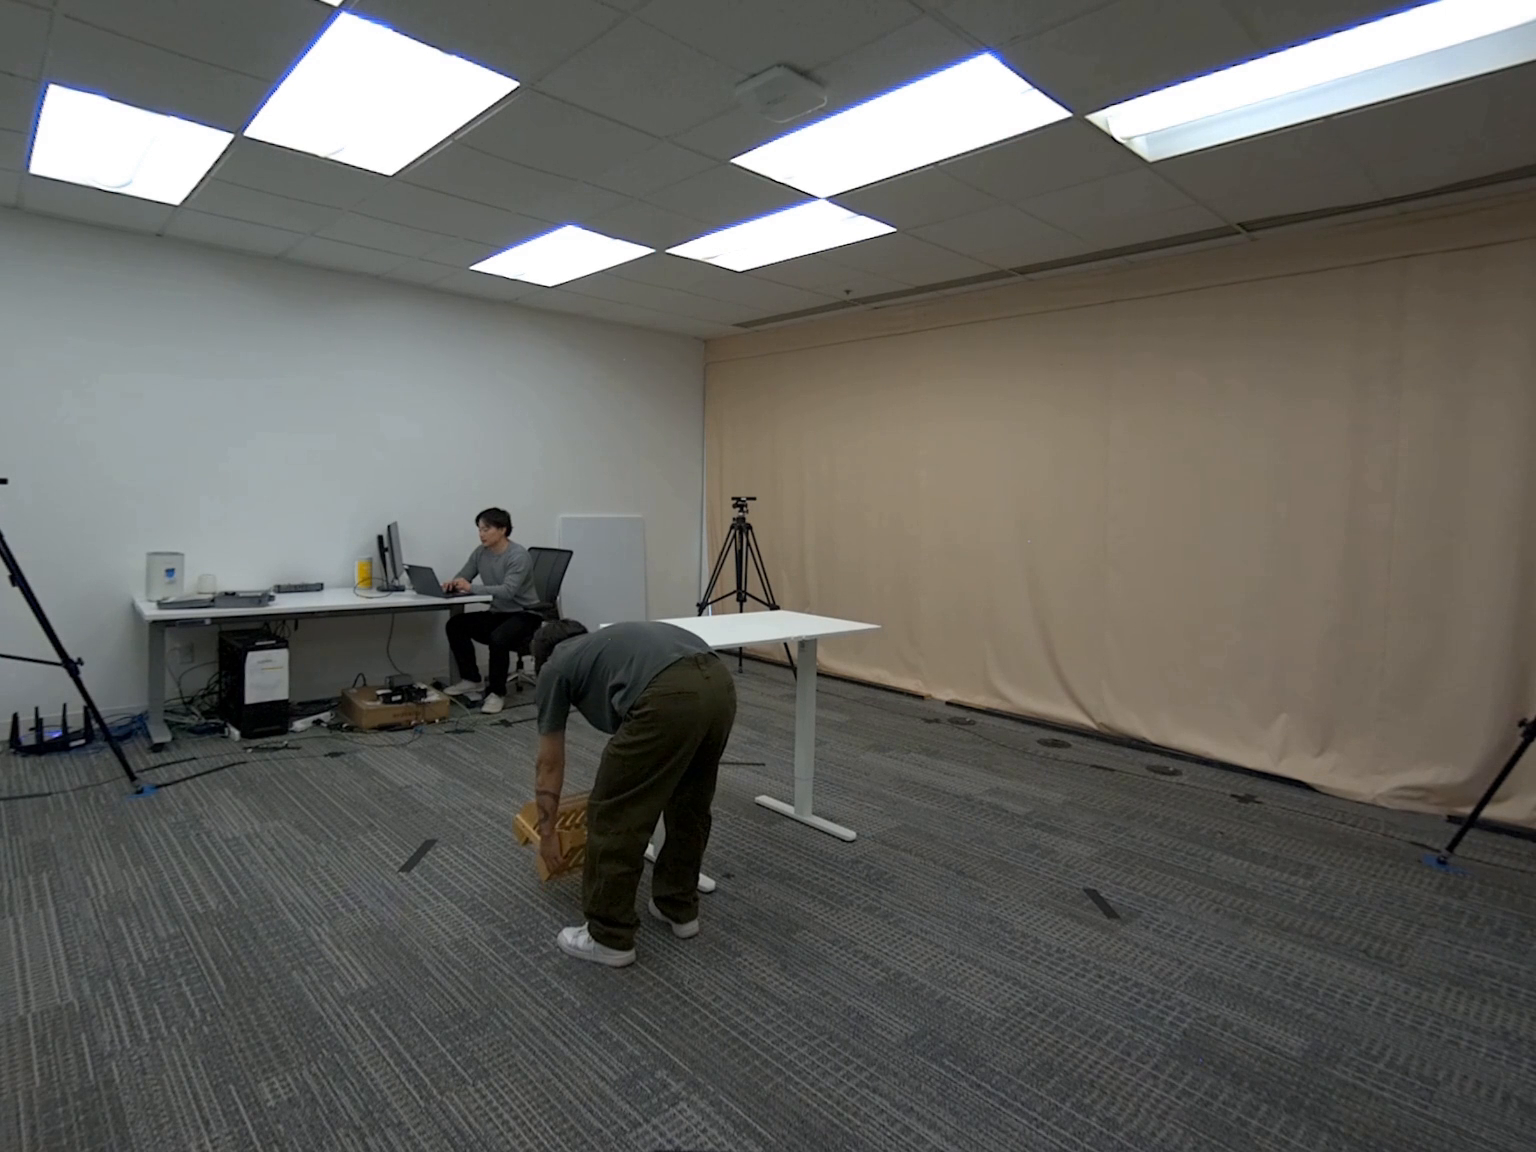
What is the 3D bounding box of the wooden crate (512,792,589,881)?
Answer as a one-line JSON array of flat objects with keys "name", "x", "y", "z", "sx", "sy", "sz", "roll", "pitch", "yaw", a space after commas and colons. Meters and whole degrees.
[{"name": "wooden crate", "x": -0.675, "y": 0.868, "z": 2.948, "sx": 0.317, "sy": 0.301, "sz": 0.281, "roll": 0, "pitch": 46, "yaw": -46}]
